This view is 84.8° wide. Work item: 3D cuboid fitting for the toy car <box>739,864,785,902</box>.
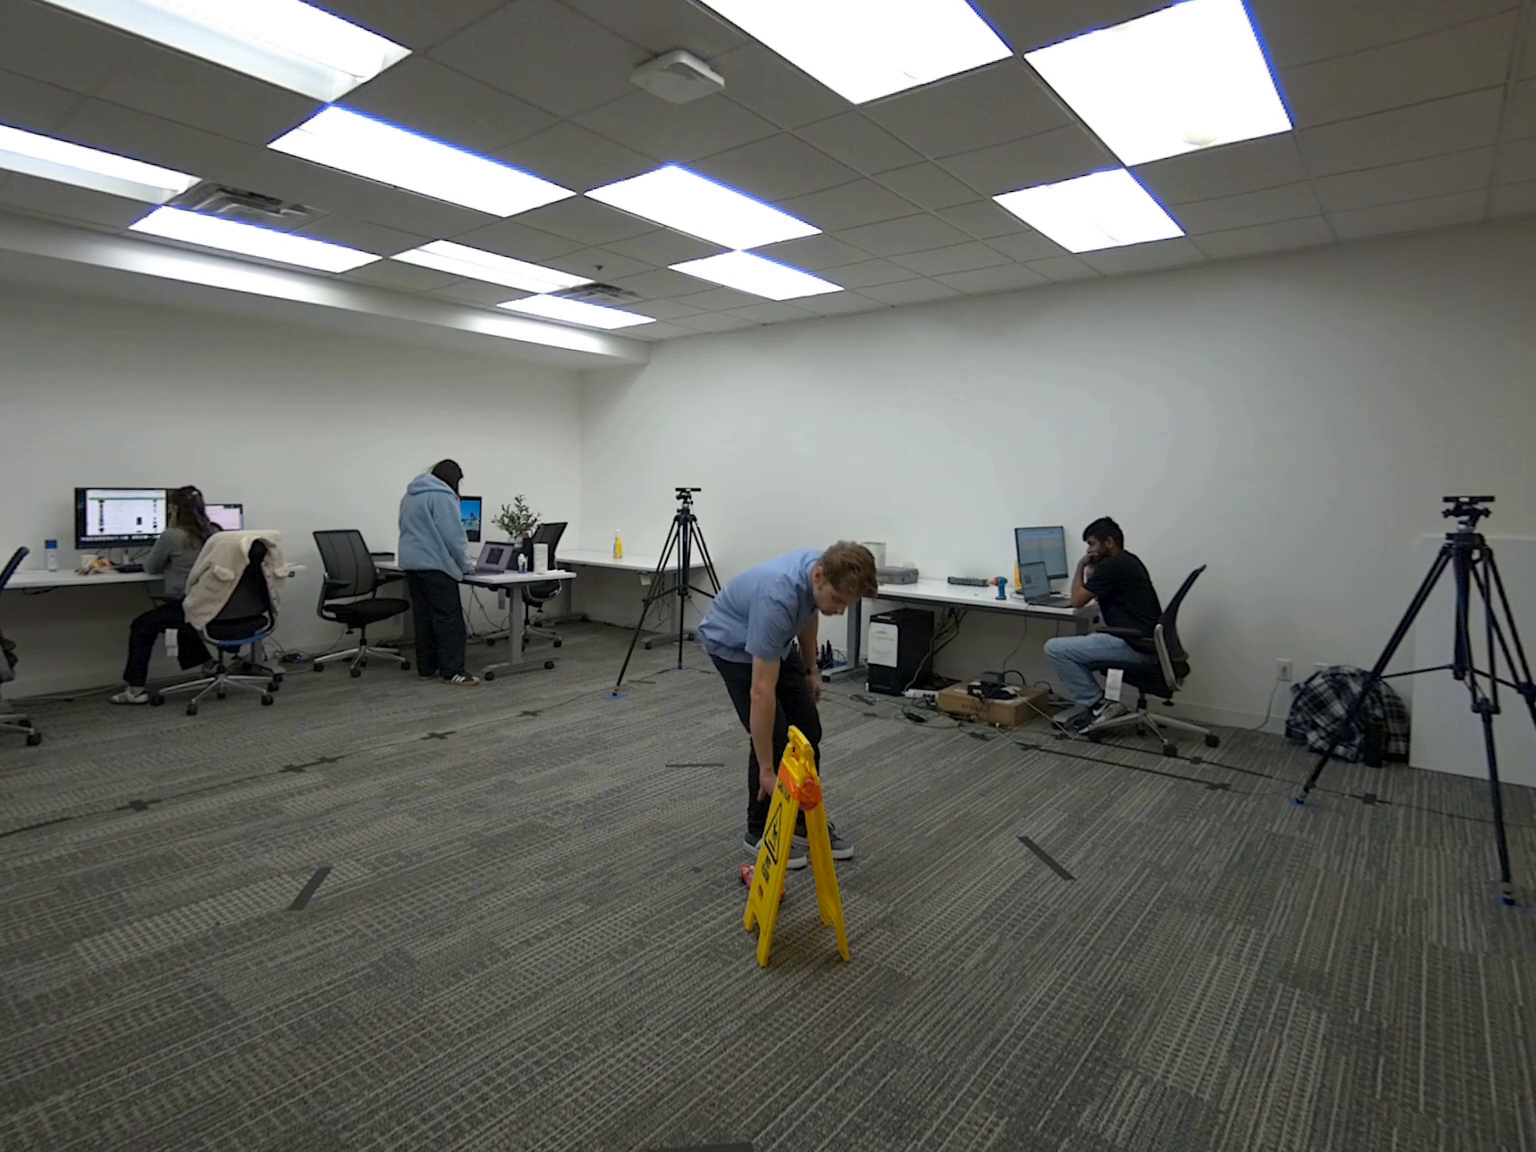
[{"bbox_3d":[-0.018,1.054,2.926,0.128,0.084,0.256,1,-7,-14],"label":"toy car"}]
